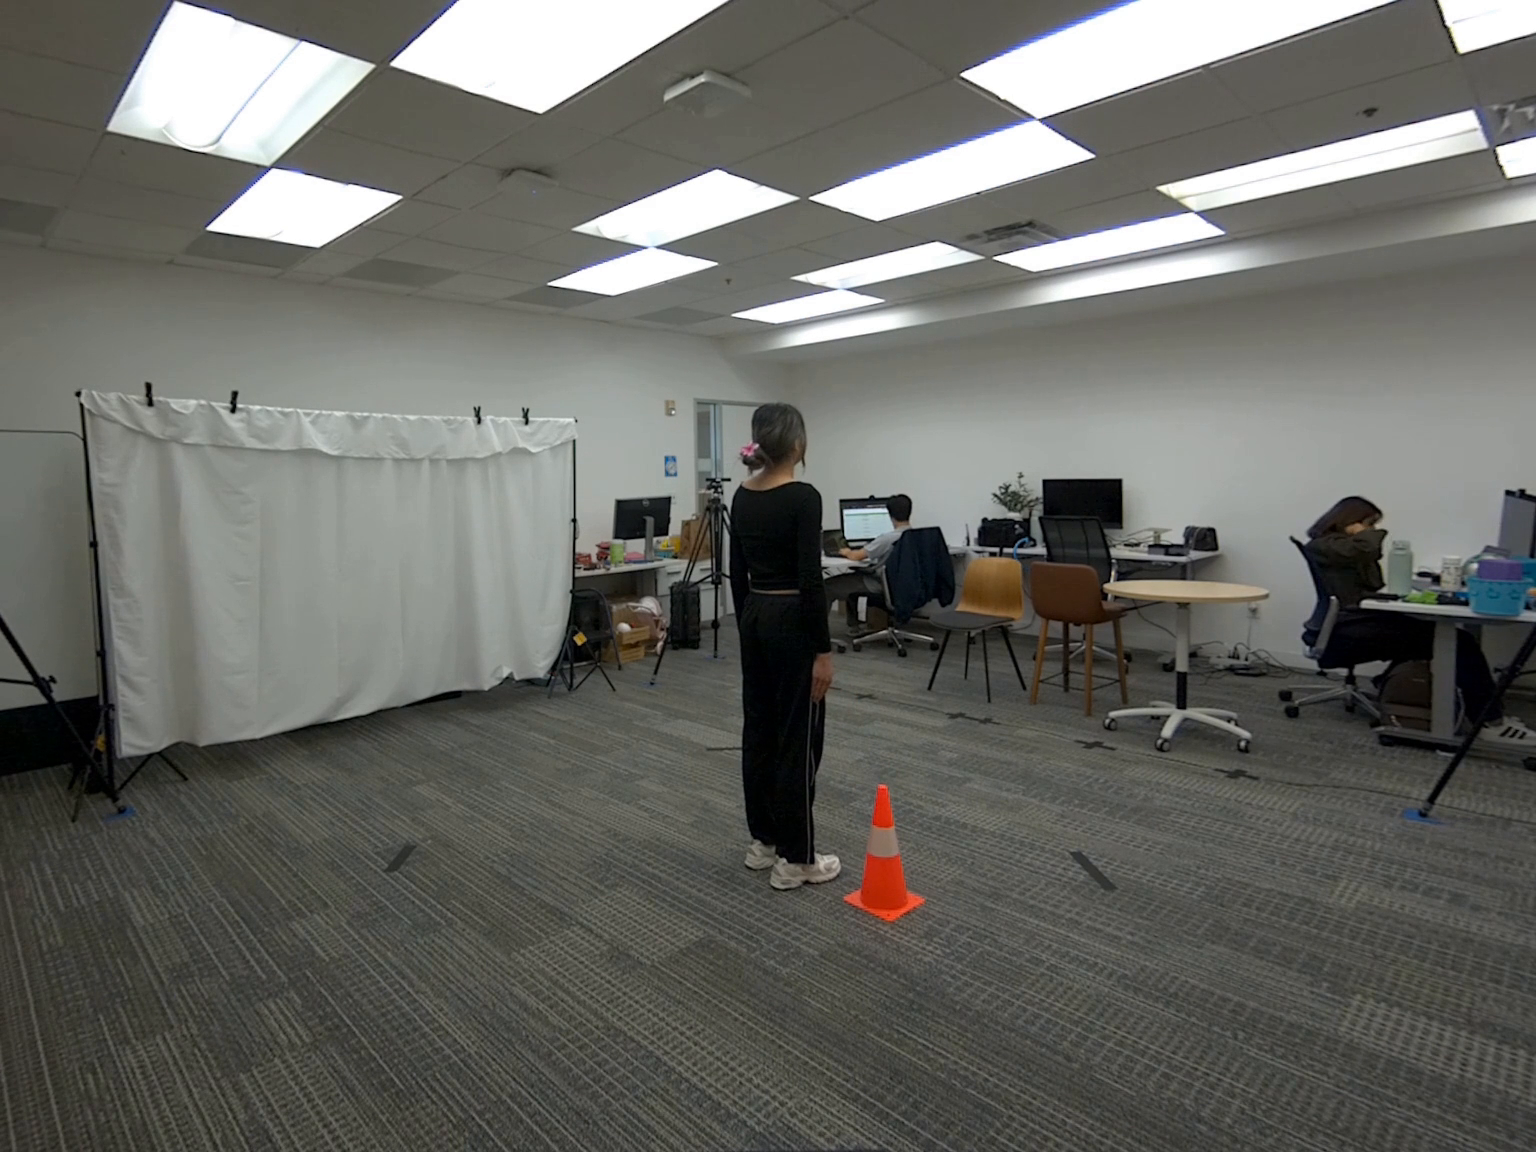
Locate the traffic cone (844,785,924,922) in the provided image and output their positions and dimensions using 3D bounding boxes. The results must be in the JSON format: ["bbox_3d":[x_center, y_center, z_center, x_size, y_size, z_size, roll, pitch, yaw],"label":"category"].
[{"bbox_3d":[0.385,0.881,2.805,0.200,0.382,0.209,-4,6,-30],"label":"traffic cone"}]
